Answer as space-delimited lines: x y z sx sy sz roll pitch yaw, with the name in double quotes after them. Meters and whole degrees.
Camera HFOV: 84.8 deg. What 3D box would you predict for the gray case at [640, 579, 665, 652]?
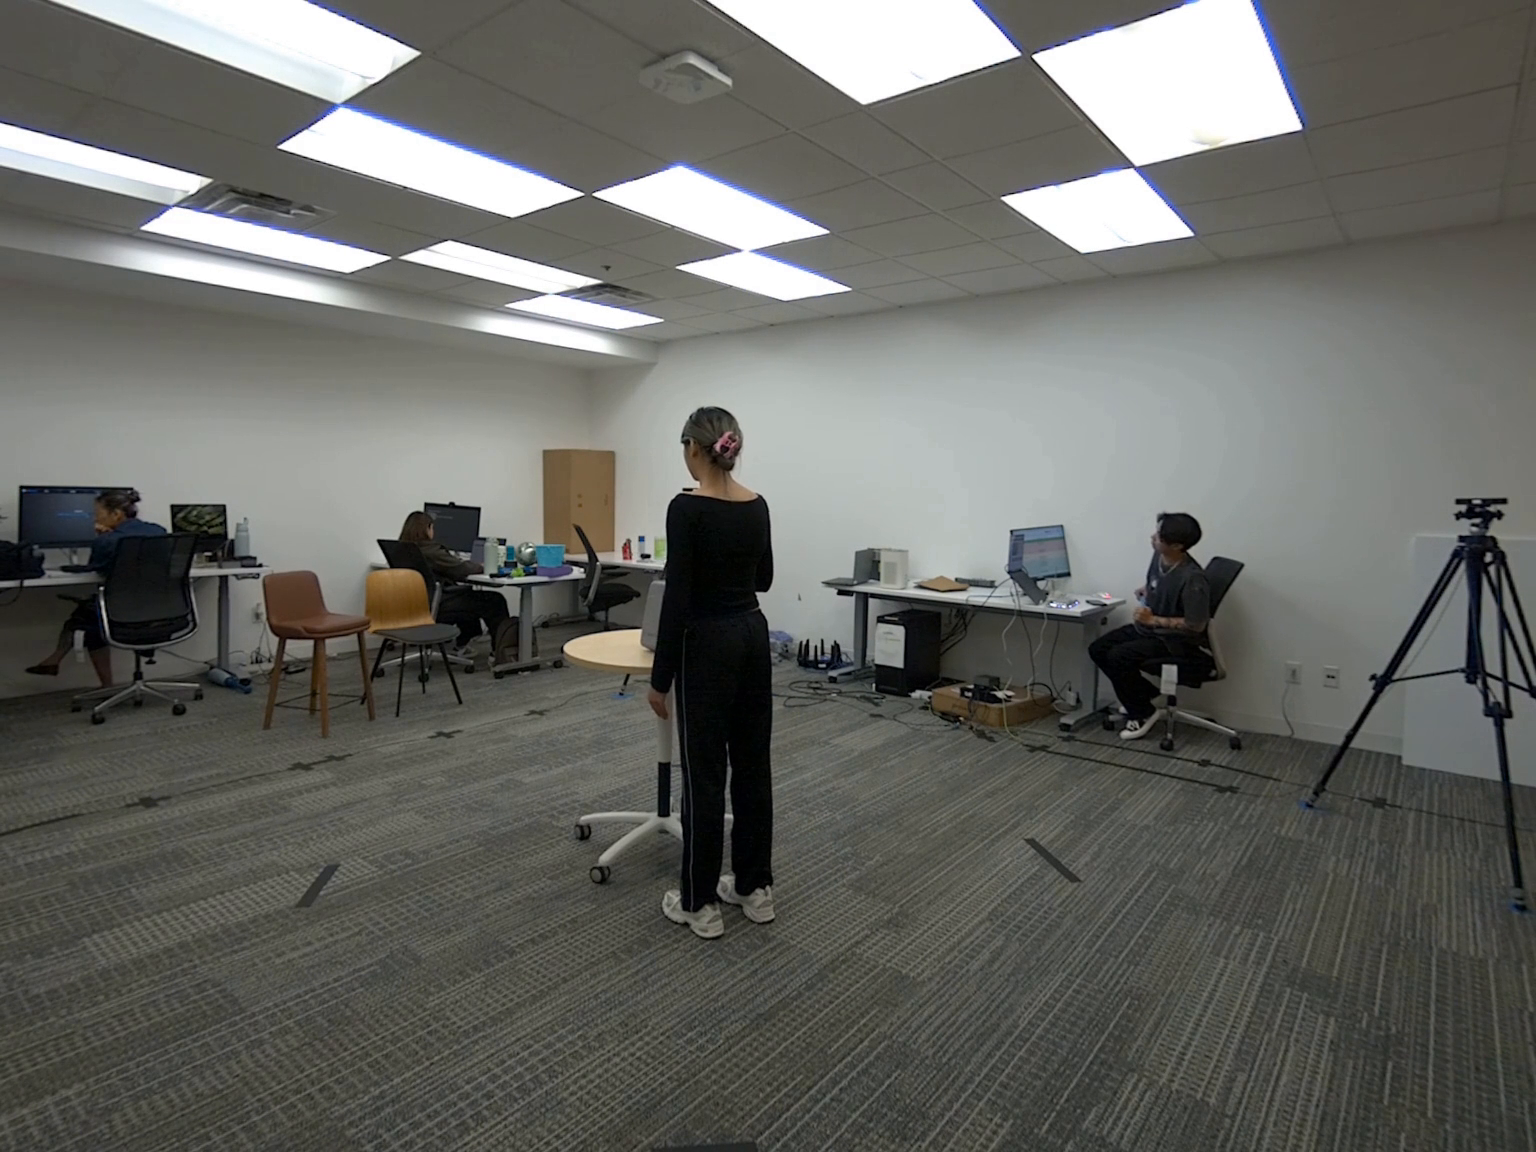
-0.348 0.147 3.081 0.100 0.261 0.266 10 -3 -43 "gray case"
